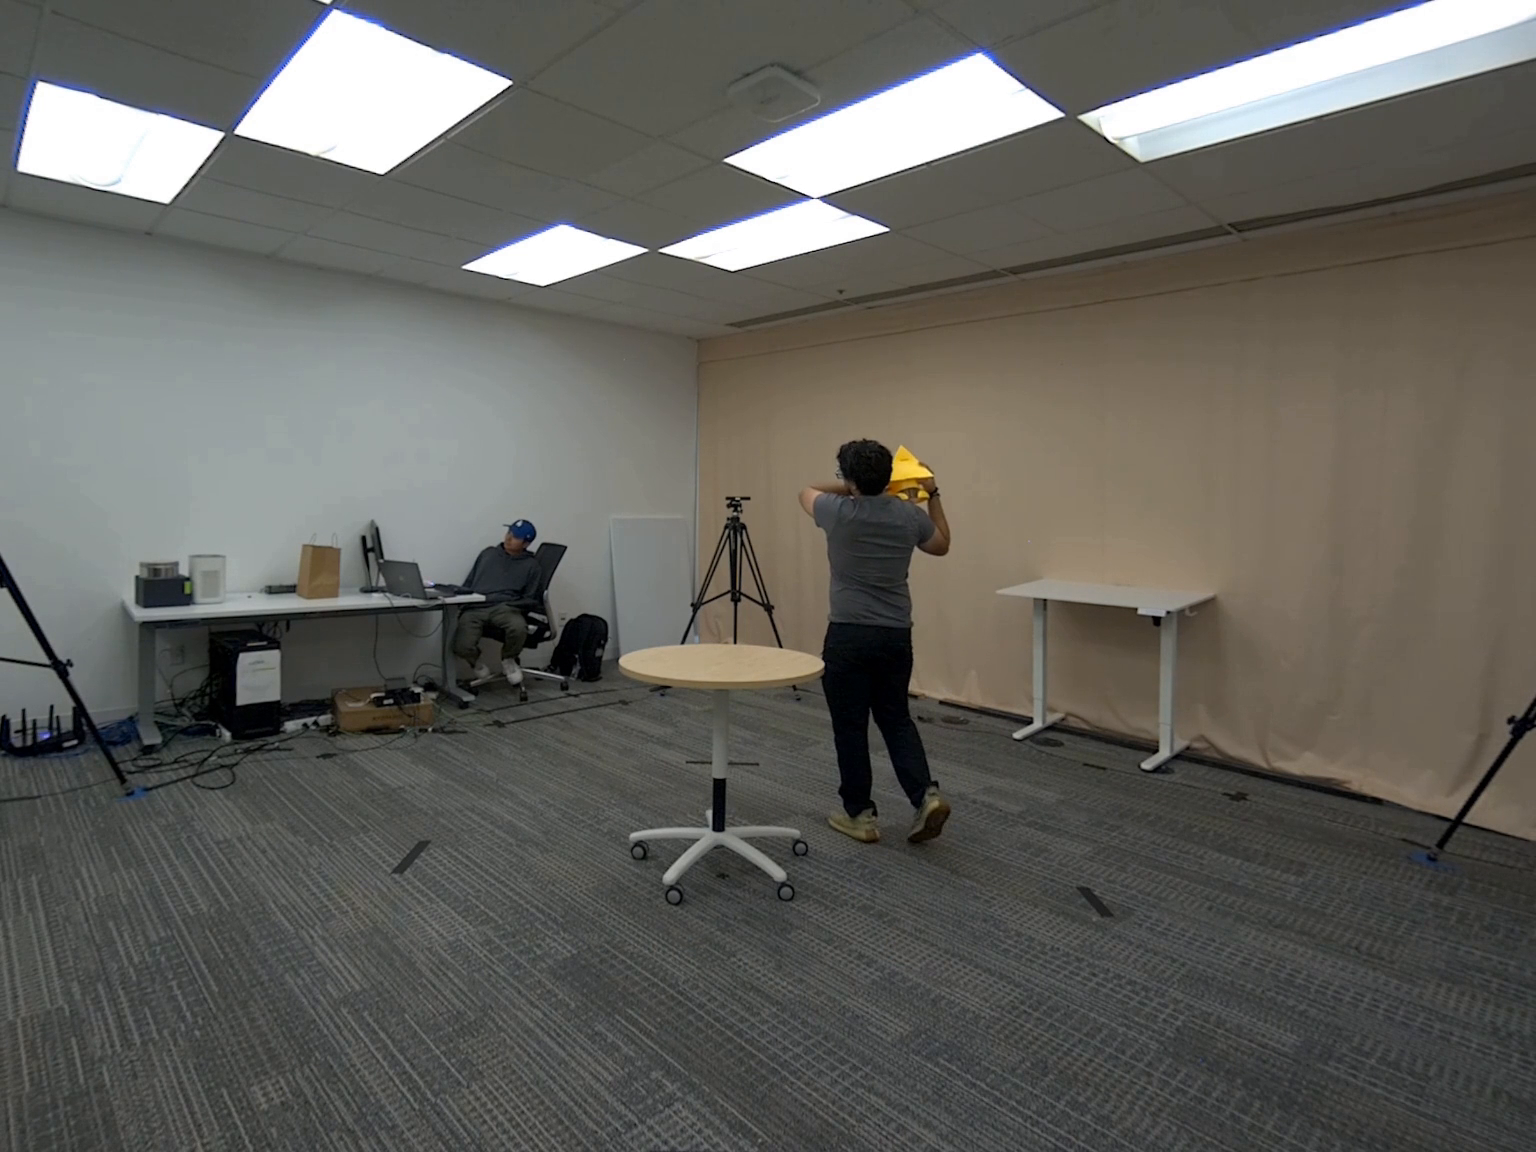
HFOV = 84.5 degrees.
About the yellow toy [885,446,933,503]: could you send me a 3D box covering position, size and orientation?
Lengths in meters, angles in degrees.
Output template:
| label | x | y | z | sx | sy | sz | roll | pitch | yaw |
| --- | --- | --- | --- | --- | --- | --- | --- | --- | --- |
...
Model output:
| label | x | y | z | sx | sy | sz | roll | pitch | yaw |
| --- | --- | --- | --- | --- | --- | --- | --- | --- | --- |
| yellow toy | 0.548 | -0.424 | 3.554 | 0.202 | 0.232 | 0.194 | -8 | -9 | -18 |
